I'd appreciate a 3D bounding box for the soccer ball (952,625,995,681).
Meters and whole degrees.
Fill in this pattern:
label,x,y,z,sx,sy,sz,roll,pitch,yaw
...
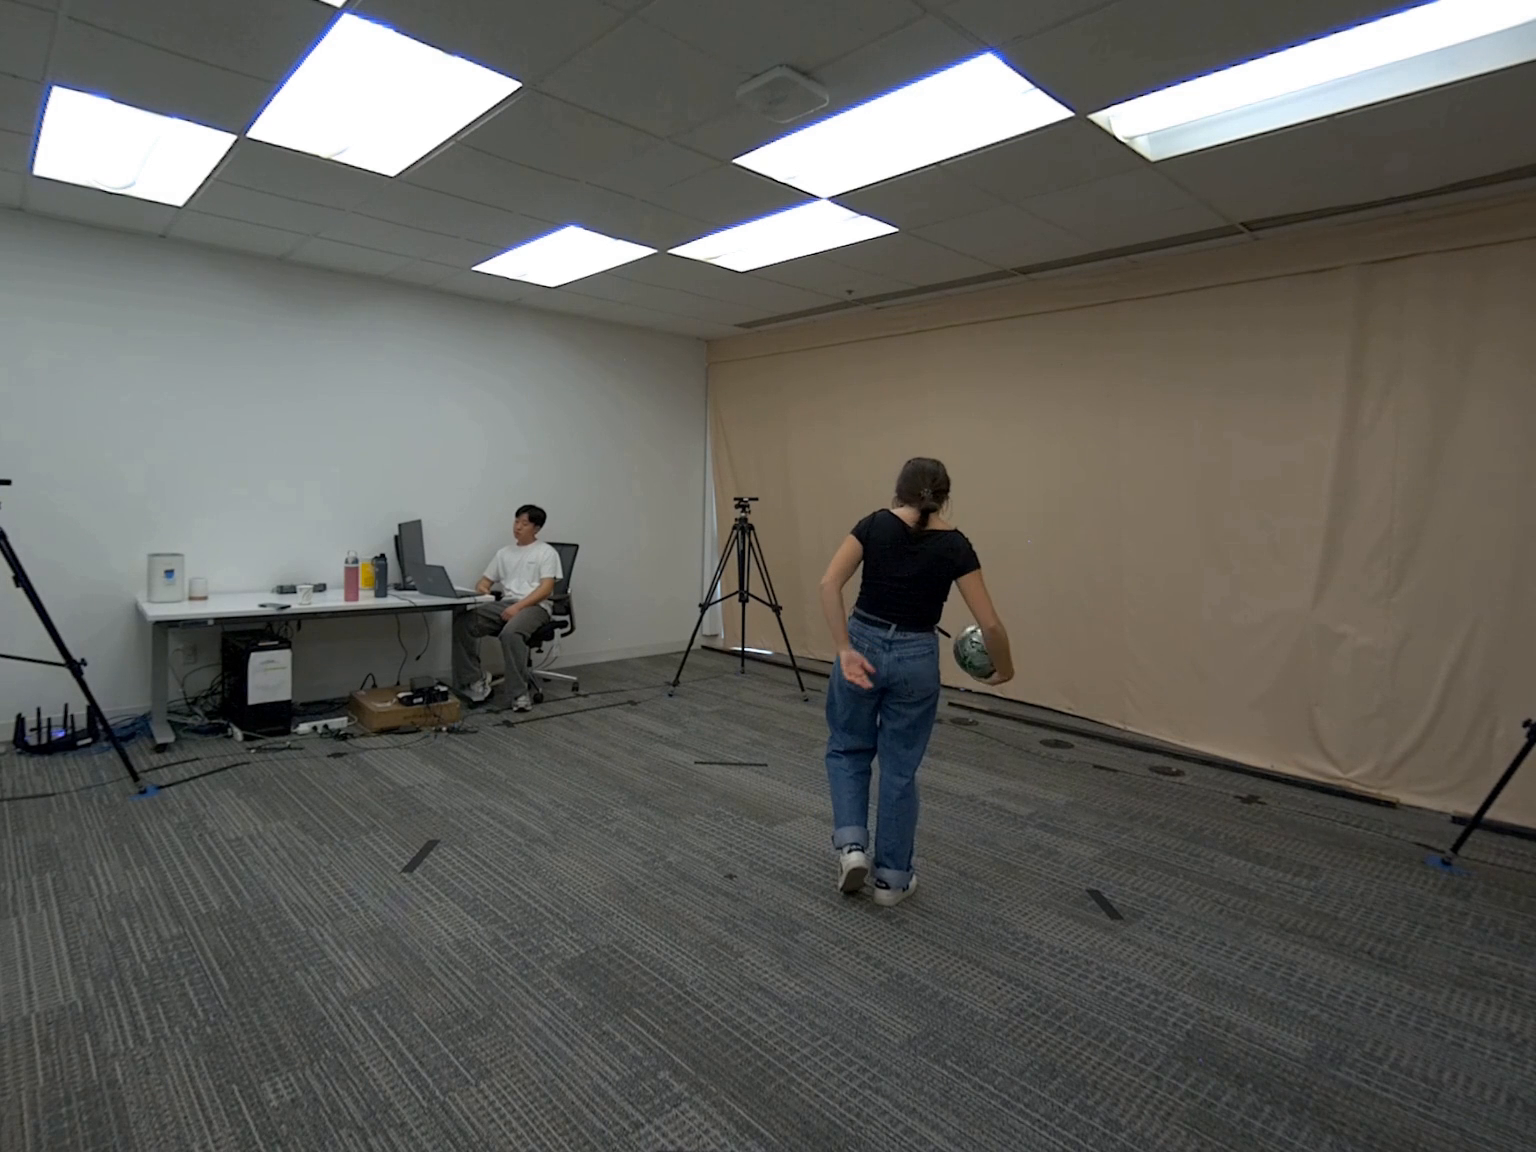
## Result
label,x,y,z,sx,sy,sz,roll,pitch,yaw
soccer ball,0.717,0.246,2.930,0.187,0.187,0.188,1,4,-1
